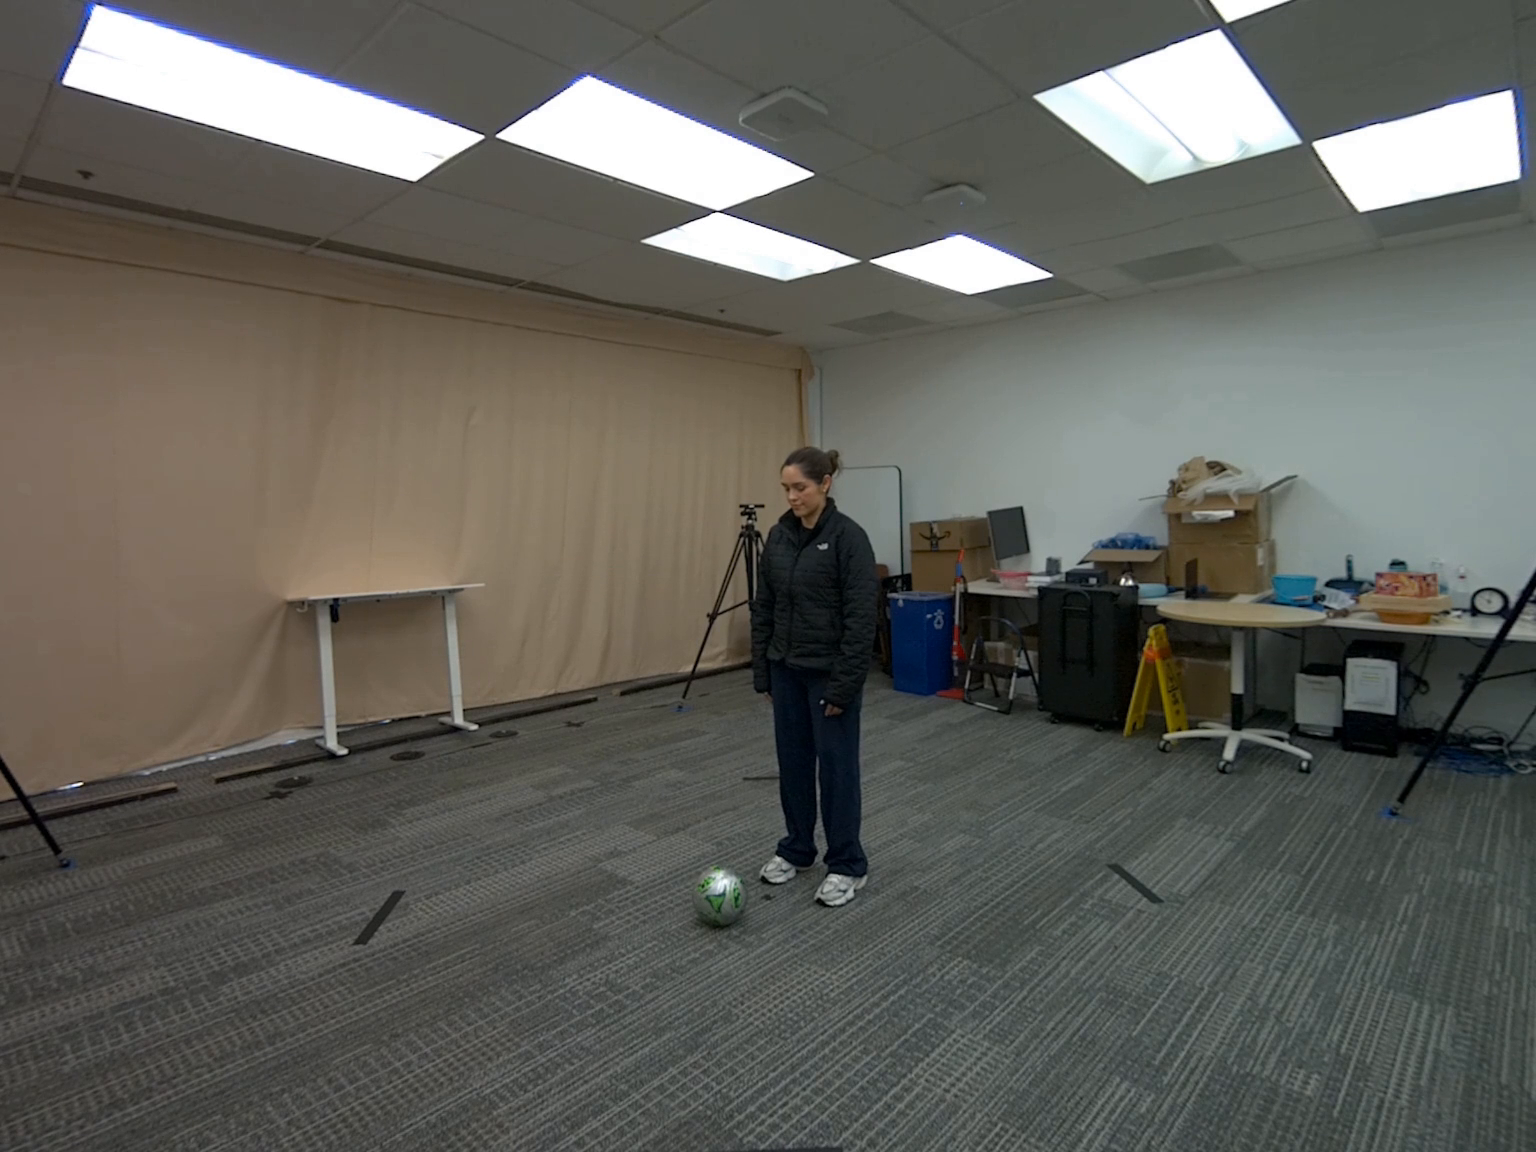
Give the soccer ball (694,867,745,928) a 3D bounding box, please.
[{"bbox_3d":[-0.158,1.062,2.799,0.187,0.187,0.188,-1,4,-2],"label":"soccer ball"}]
